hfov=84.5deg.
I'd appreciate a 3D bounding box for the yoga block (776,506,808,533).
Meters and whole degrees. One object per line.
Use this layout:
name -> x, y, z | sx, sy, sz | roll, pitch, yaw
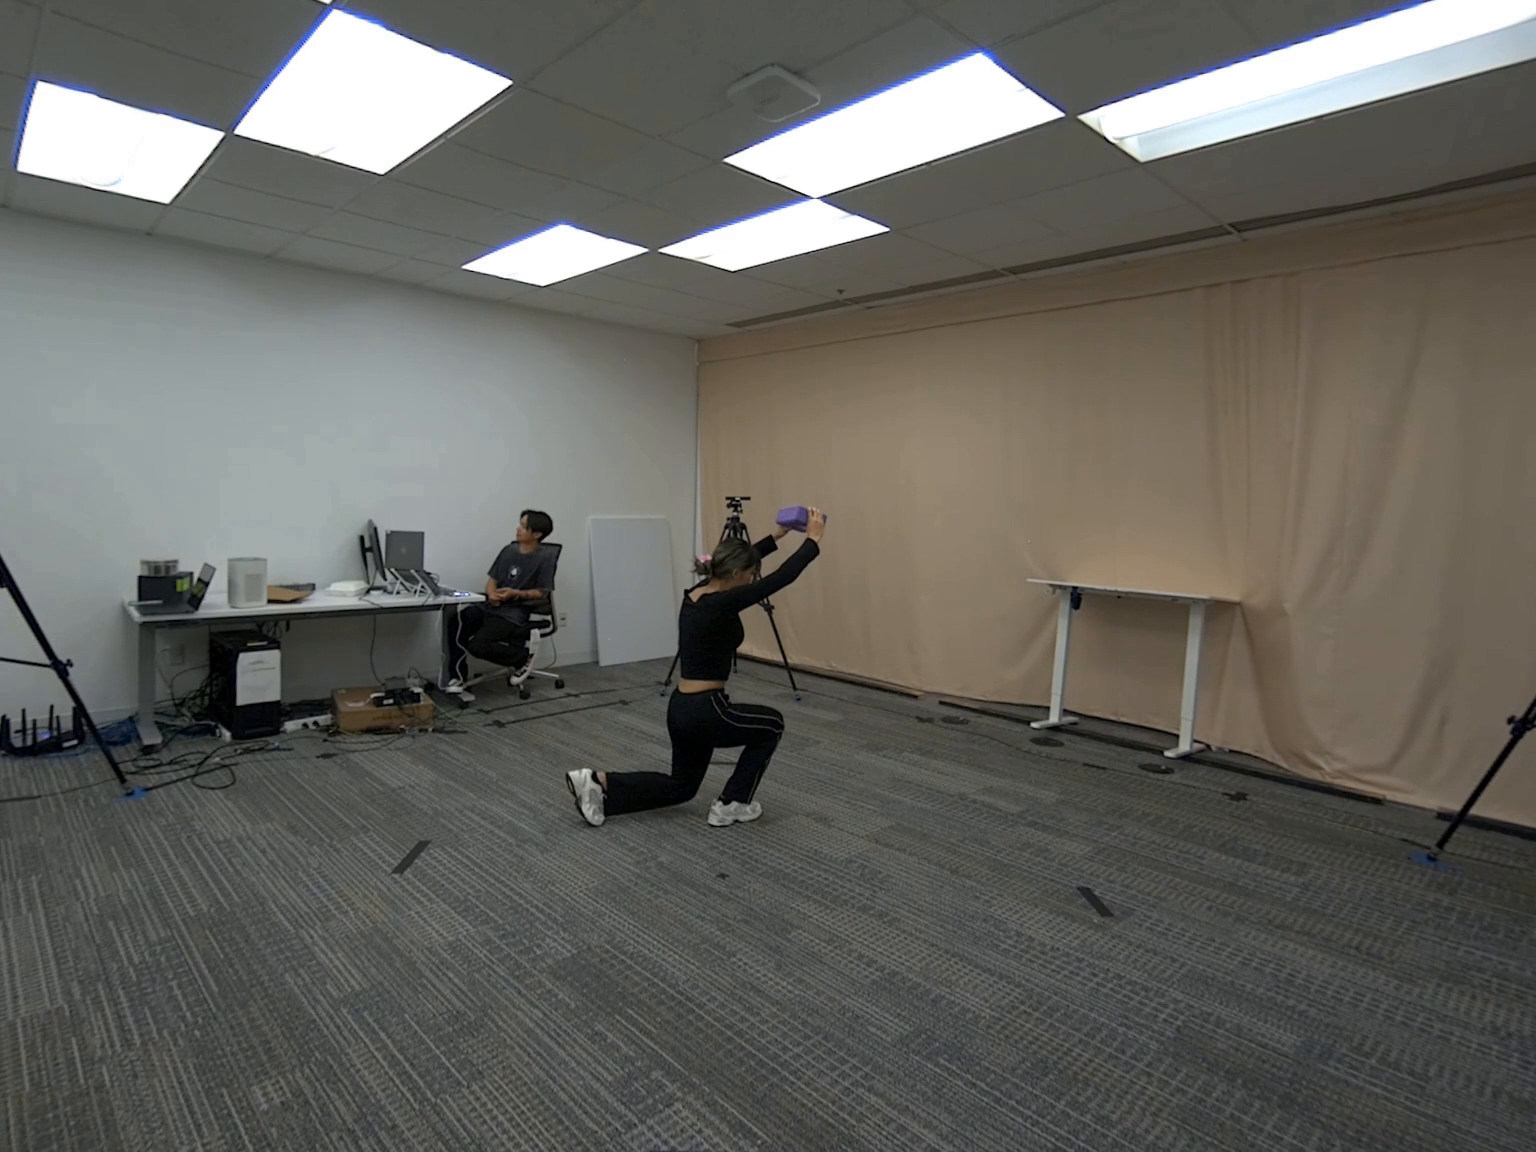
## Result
yoga block -> 0.136, -0.258, 3.774 | 0.146, 0.076, 0.232 | 17, -6, -18
